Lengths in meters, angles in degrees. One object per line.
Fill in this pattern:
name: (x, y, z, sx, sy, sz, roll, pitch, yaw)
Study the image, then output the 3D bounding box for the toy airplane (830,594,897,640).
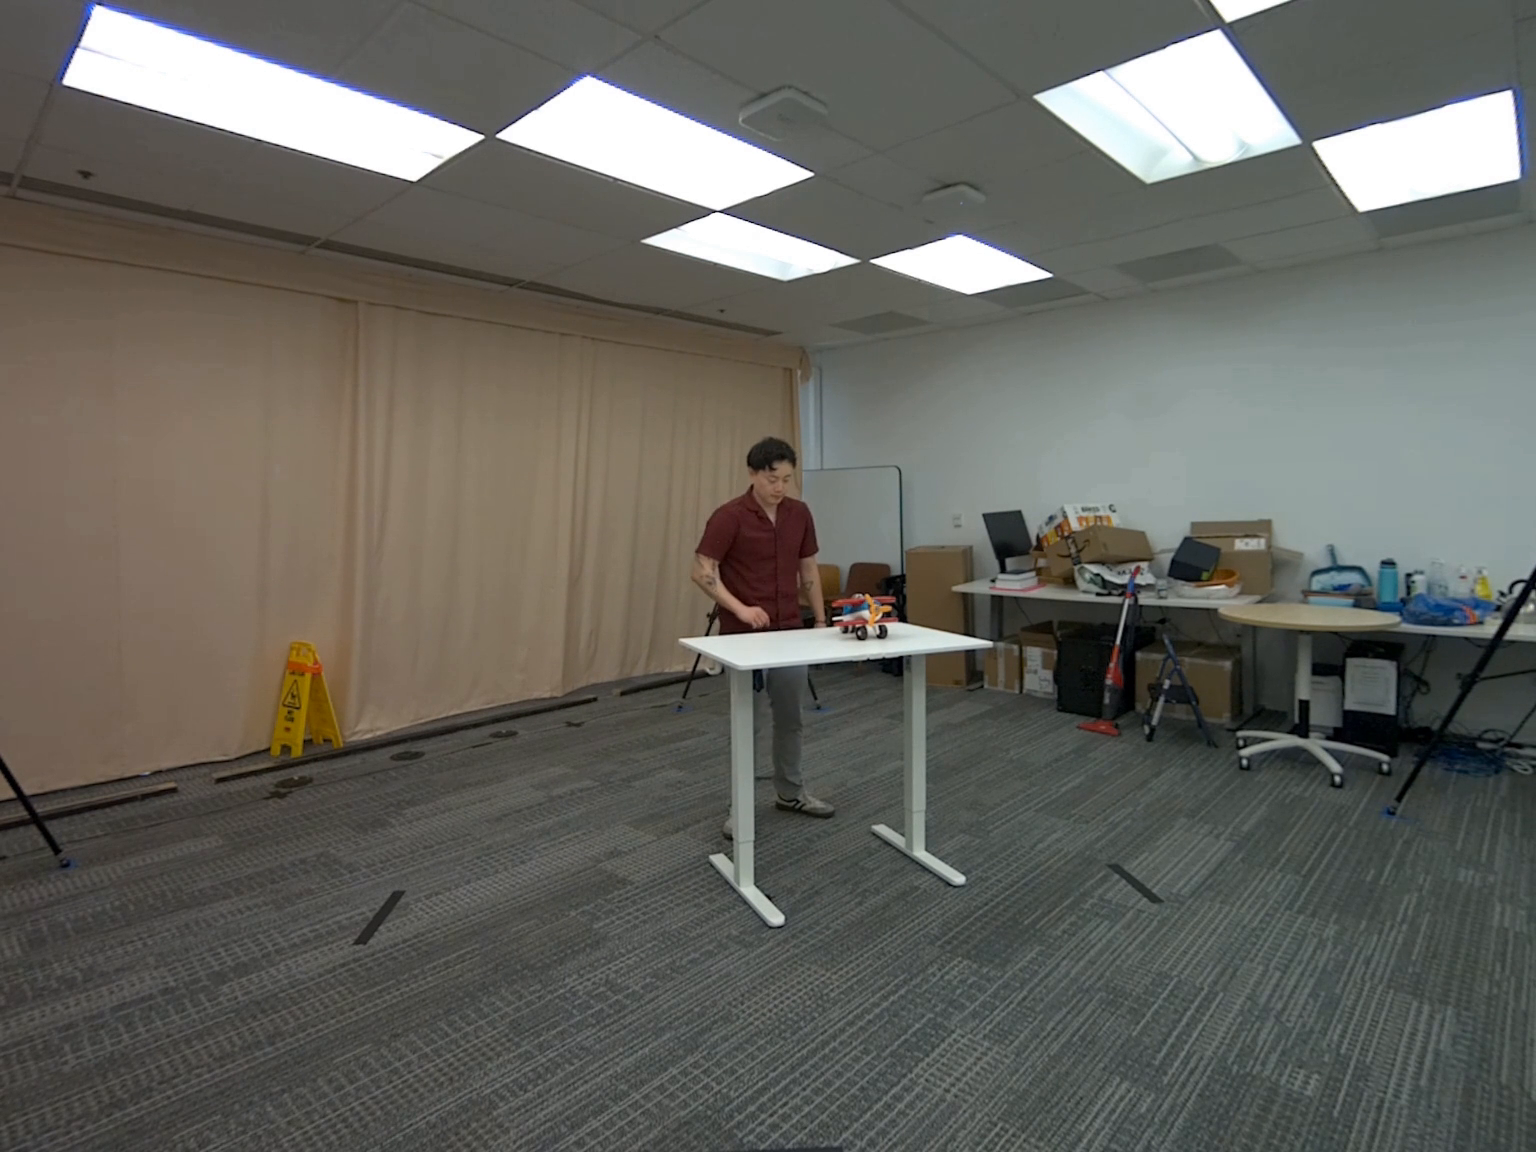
toy airplane: (0.344, 0.155, 3.215, 0.268, 0.156, 0.243, 4, 6, 41)
